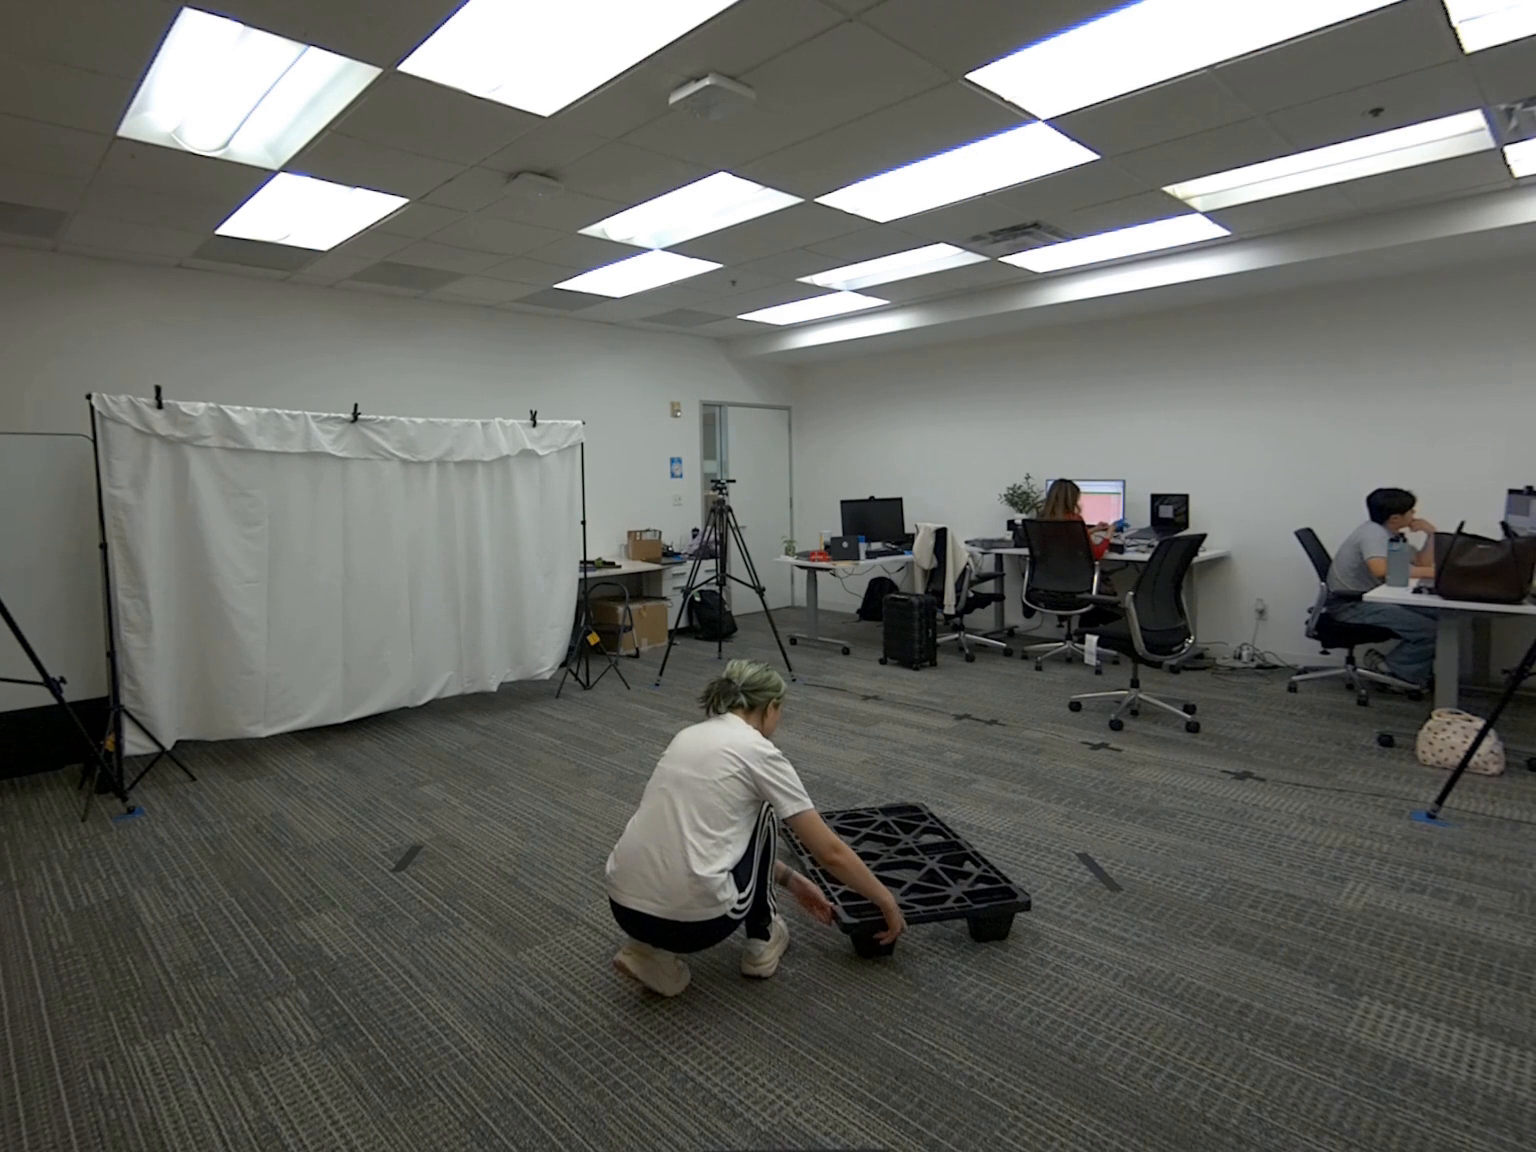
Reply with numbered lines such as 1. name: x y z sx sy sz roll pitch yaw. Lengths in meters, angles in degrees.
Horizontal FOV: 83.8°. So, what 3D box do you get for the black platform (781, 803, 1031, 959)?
1. black platform: 0.409 0.994 2.883 0.598 0.143 0.819 -2 6 -13
